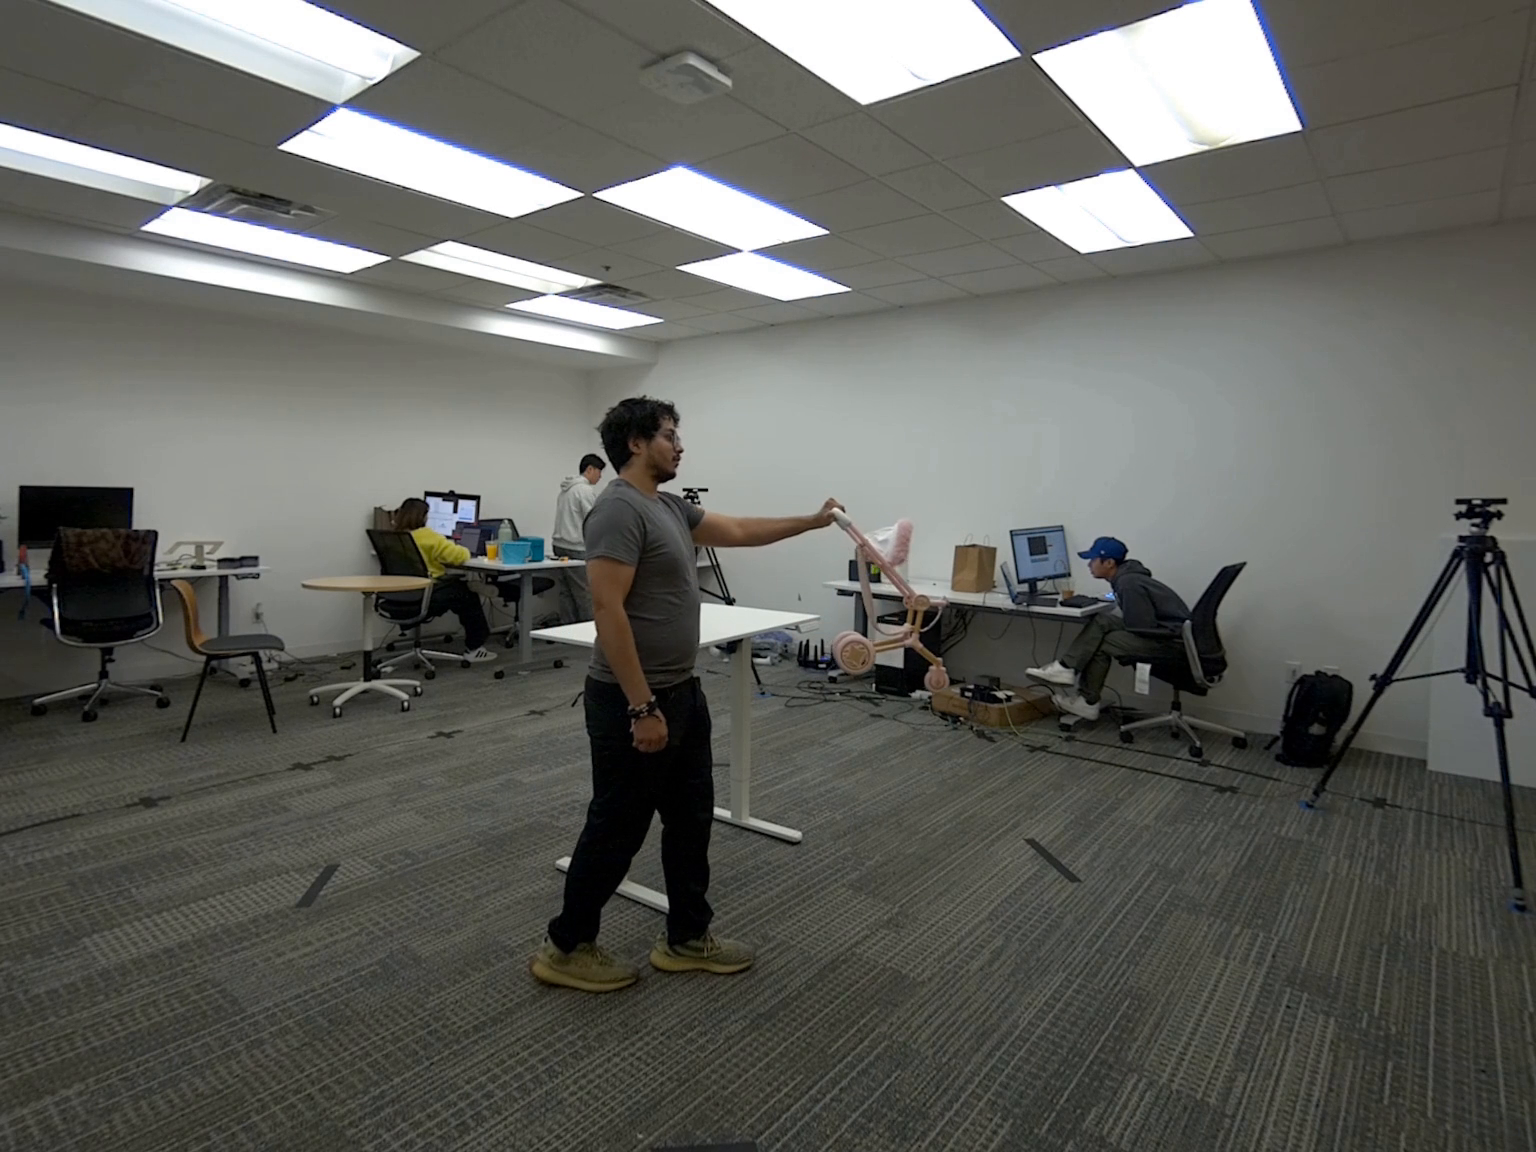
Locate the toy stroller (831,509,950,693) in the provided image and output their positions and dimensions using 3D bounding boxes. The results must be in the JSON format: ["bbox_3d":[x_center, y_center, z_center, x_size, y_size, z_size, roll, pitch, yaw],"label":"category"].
[{"bbox_3d":[0.354,0.072,2.474,0.345,0.537,0.278,0,-3,8],"label":"toy stroller"}]
